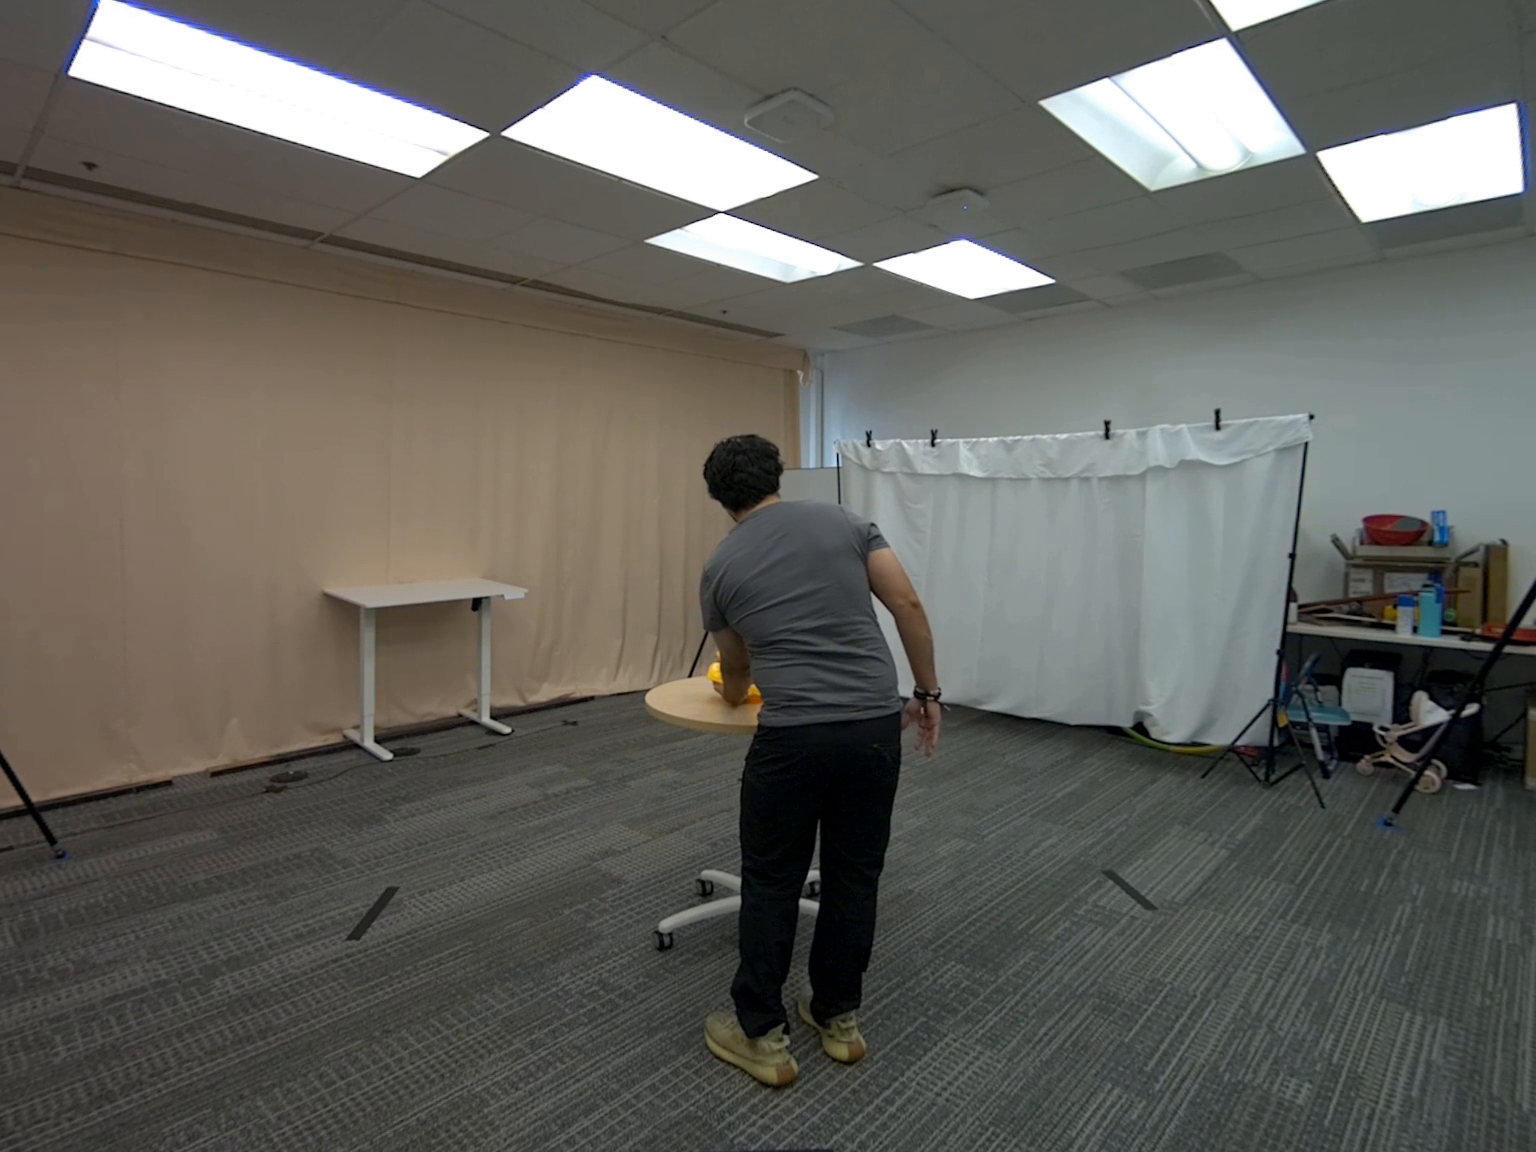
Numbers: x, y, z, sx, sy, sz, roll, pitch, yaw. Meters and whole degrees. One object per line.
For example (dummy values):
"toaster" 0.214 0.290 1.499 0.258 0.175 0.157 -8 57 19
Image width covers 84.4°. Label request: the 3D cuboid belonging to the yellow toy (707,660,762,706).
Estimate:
"yellow toy" -0.063 0.245 2.640 0.203 0.231 0.194 17 -9 -6
